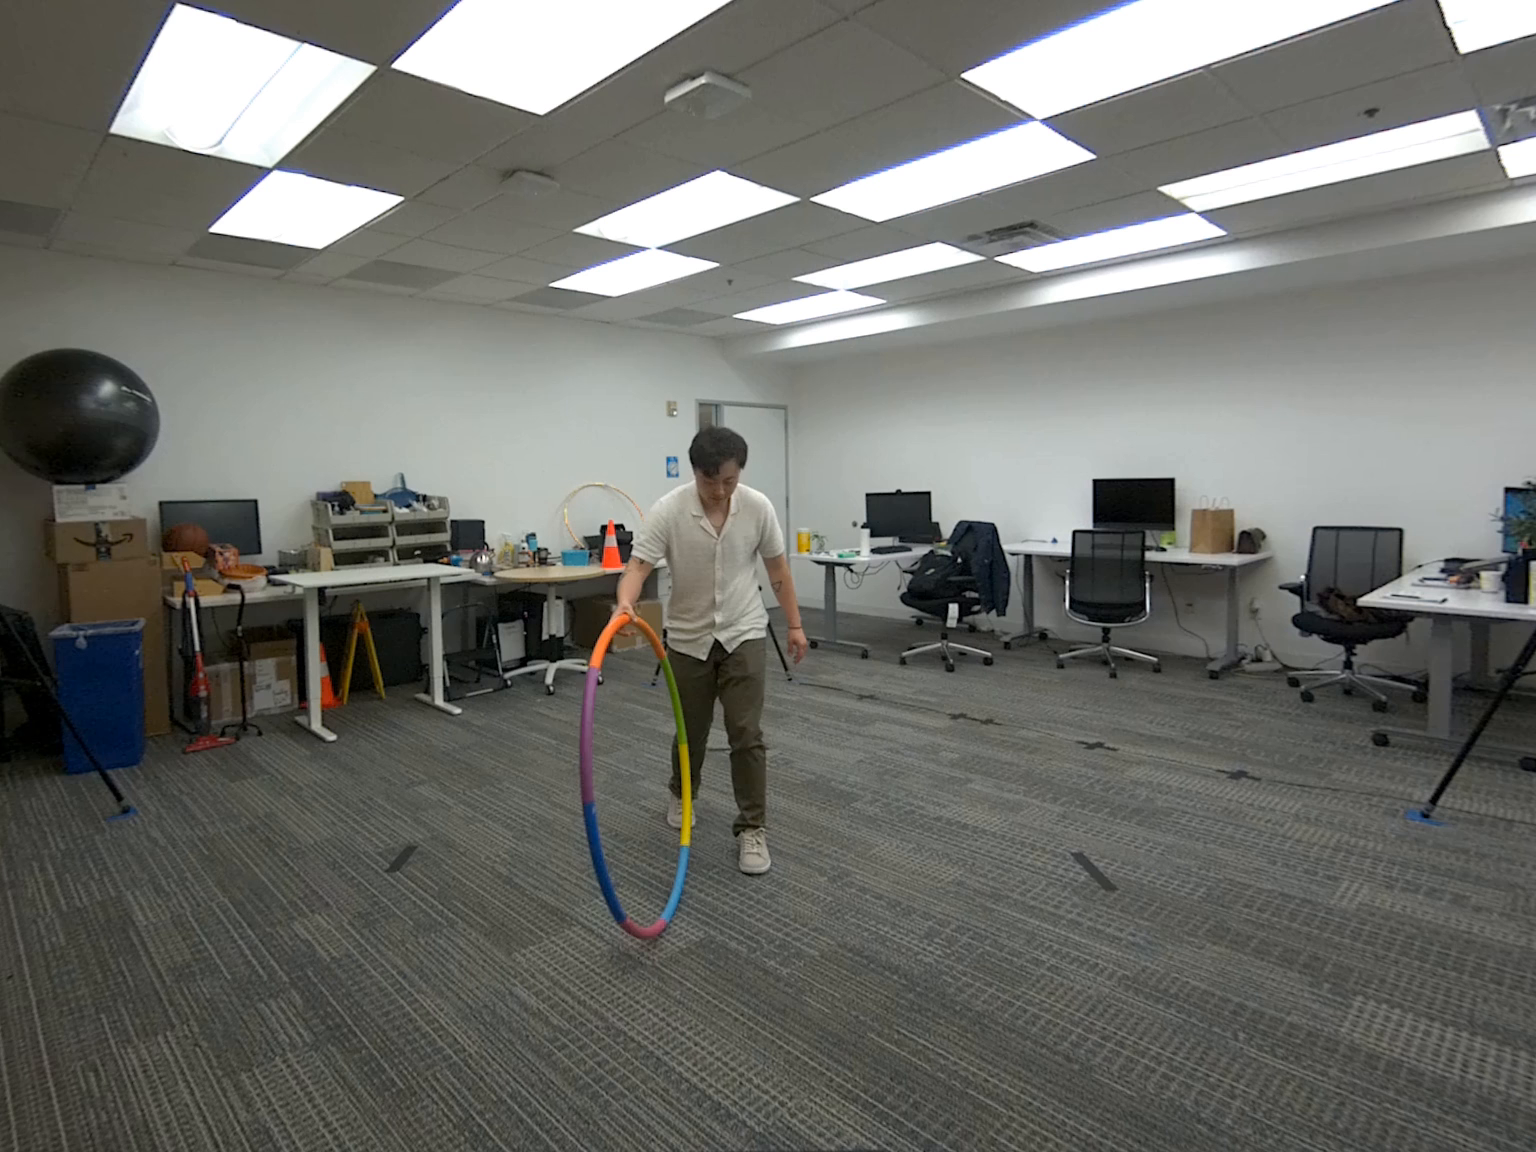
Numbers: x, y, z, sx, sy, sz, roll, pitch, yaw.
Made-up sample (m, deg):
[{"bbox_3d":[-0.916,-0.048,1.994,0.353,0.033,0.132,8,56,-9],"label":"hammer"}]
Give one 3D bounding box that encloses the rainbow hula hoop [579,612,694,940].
[{"bbox_3d":[-0.396,0.614,2.720,0.036,0.976,0.973,-10,3,9],"label":"rainbow hula hoop"}]
